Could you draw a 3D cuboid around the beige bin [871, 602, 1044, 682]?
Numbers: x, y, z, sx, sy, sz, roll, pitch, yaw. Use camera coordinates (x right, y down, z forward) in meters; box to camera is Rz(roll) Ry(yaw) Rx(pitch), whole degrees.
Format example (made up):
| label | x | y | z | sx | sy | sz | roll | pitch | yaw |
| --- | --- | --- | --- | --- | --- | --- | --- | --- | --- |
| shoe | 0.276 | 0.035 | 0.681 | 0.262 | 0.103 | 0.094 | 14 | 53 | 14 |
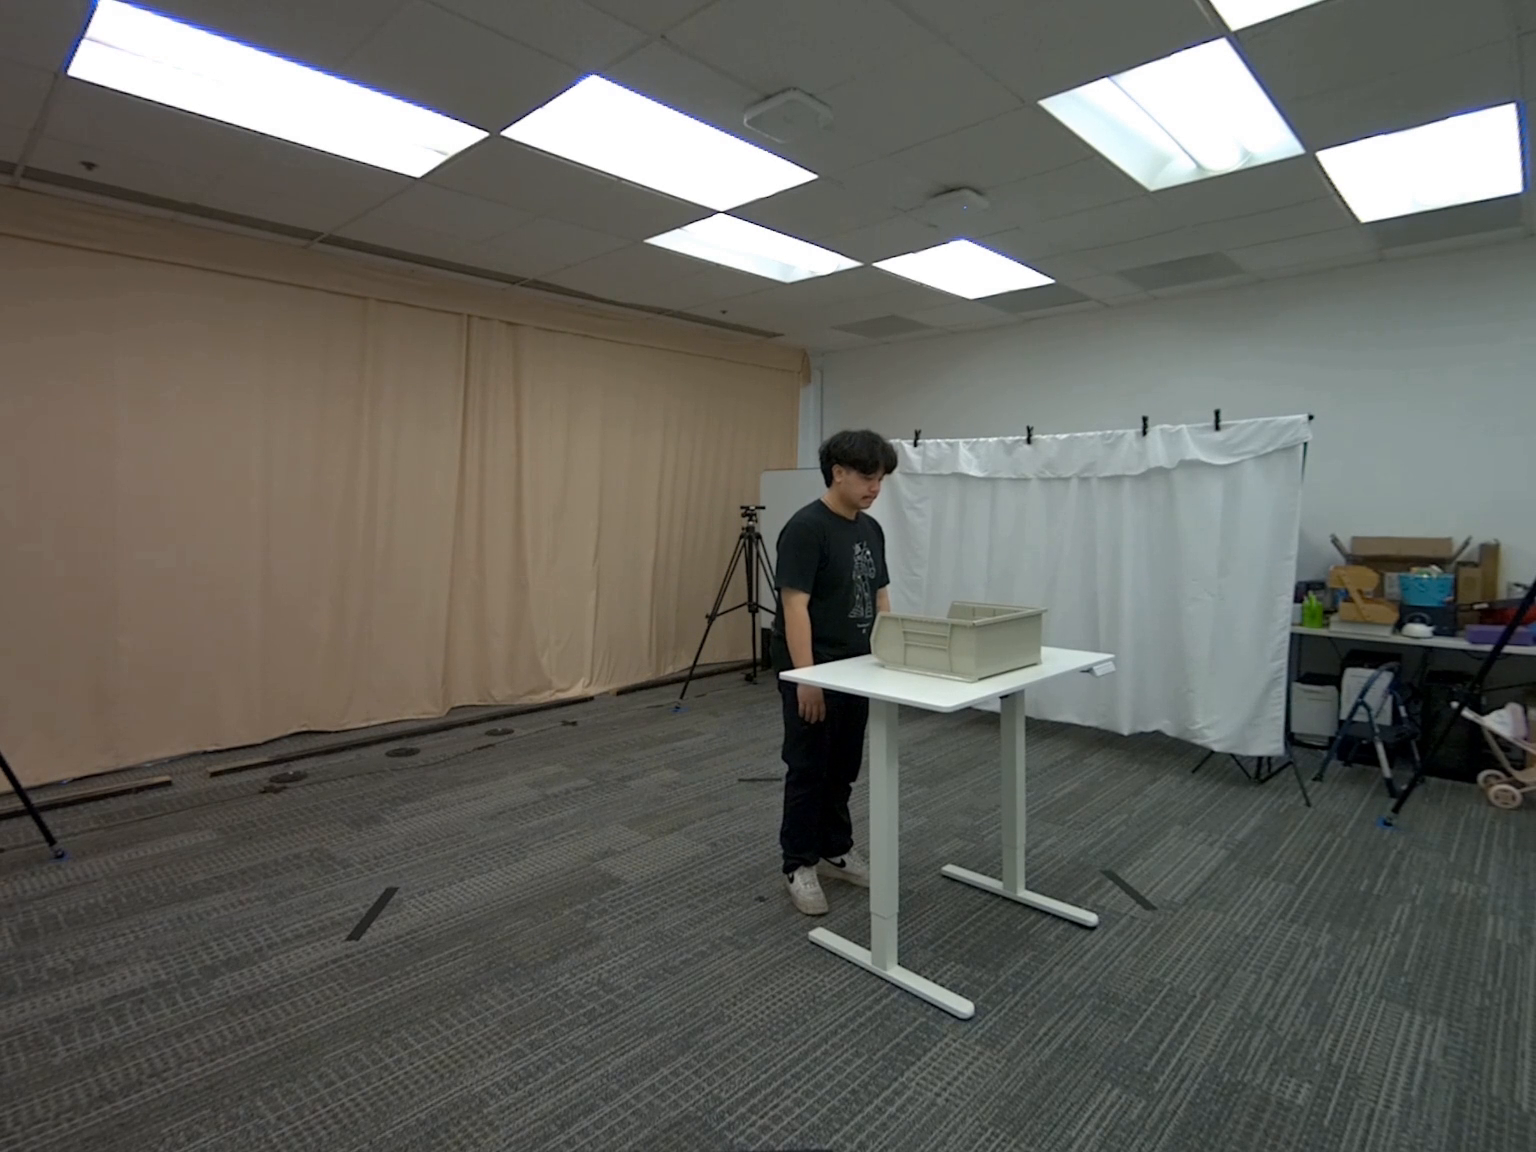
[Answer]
| label | x | y | z | sx | sy | sz | roll | pitch | yaw |
| --- | --- | --- | --- | --- | --- | --- | --- | --- | --- |
| beige bin | 0.613 | 0.200 | 2.662 | 0.409 | 0.188 | 0.390 | -4 | 6 | -43 |
